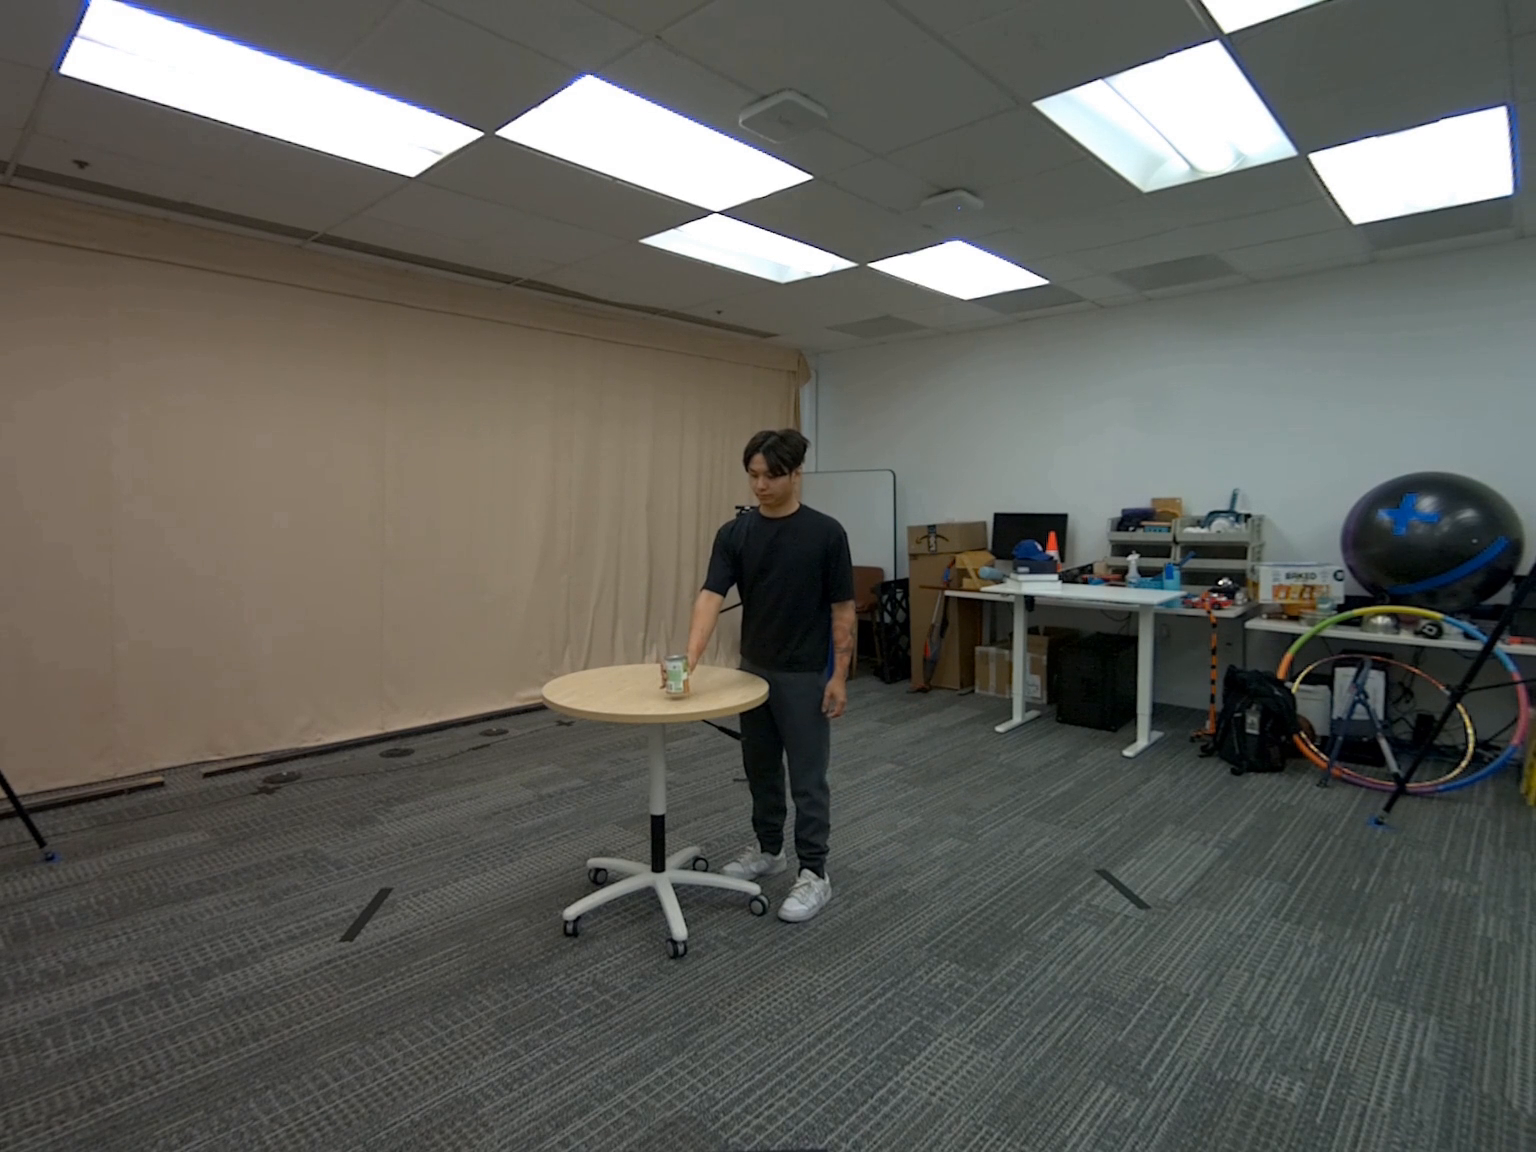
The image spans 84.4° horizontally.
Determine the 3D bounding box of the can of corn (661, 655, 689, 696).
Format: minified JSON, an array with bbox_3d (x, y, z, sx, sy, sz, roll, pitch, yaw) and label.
[{"bbox_3d":[-0.289,0.312,2.669,0.074,0.111,0.074,-4,3,-2],"label":"can of corn"}]
